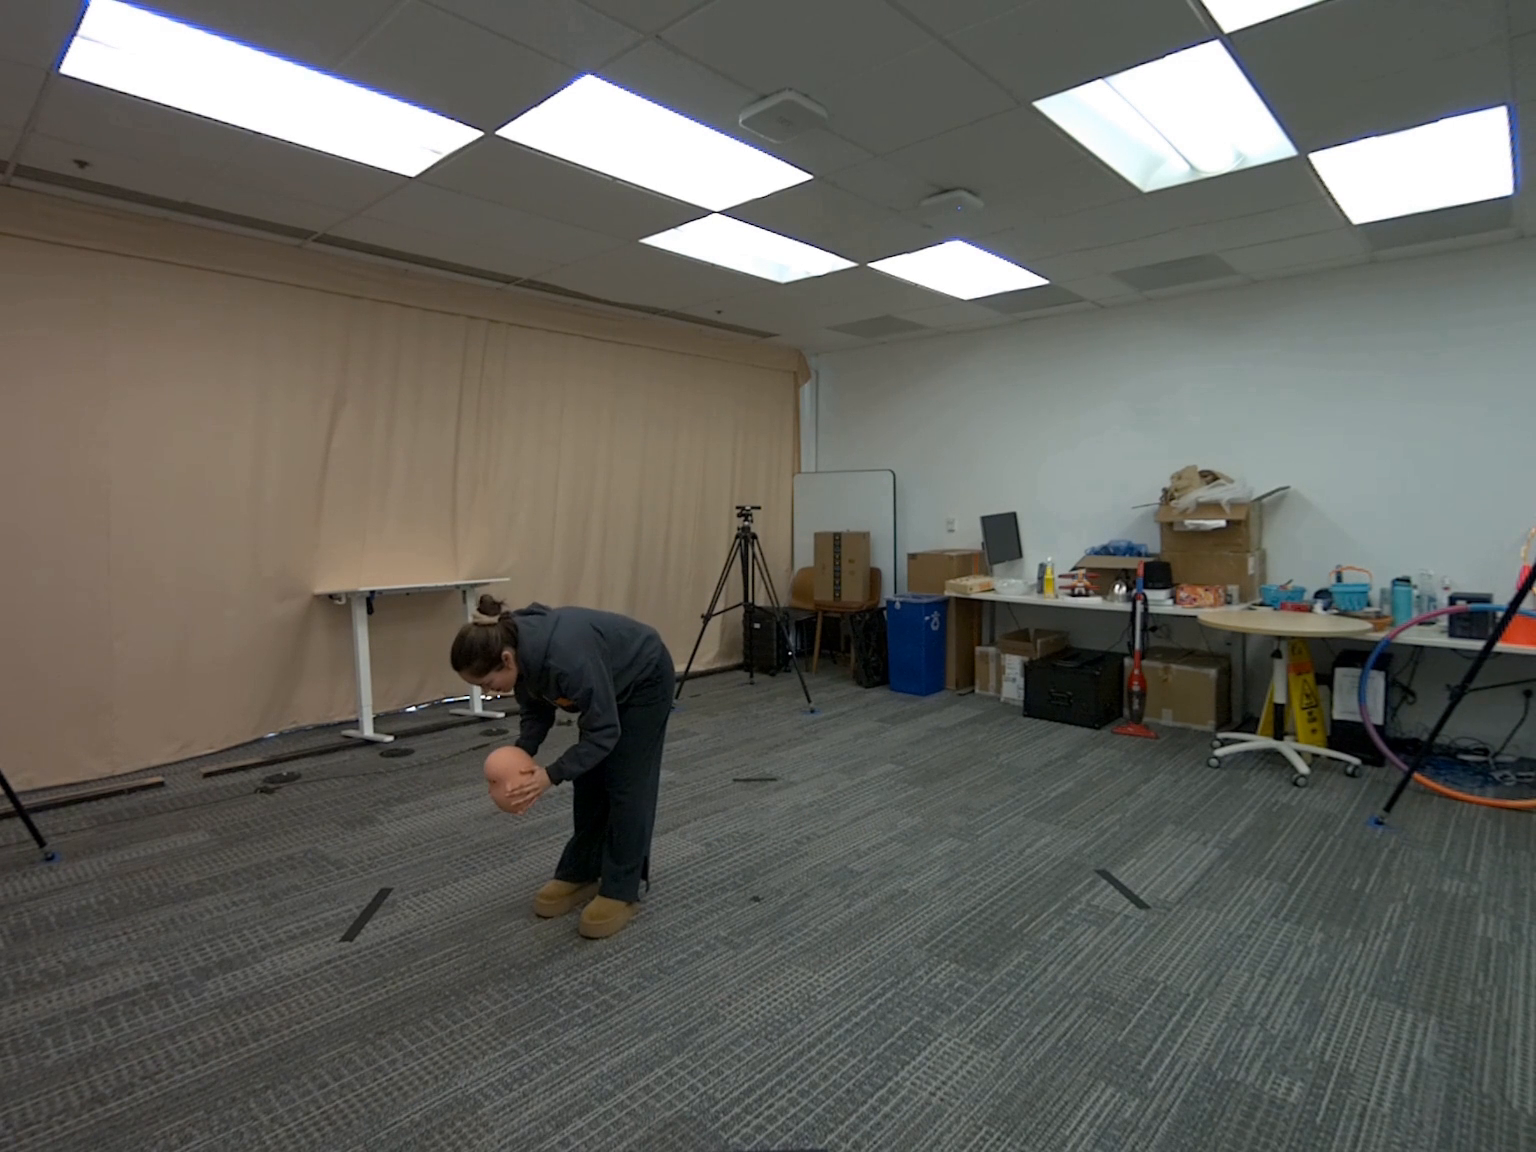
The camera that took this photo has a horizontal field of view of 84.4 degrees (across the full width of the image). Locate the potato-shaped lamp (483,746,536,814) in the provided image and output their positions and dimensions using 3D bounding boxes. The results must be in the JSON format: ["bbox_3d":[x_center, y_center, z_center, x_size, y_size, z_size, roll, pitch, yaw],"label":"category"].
[{"bbox_3d":[-0.804,0.641,2.685,0.169,0.194,0.170,-10,30,45],"label":"potato-shaped lamp"}]
